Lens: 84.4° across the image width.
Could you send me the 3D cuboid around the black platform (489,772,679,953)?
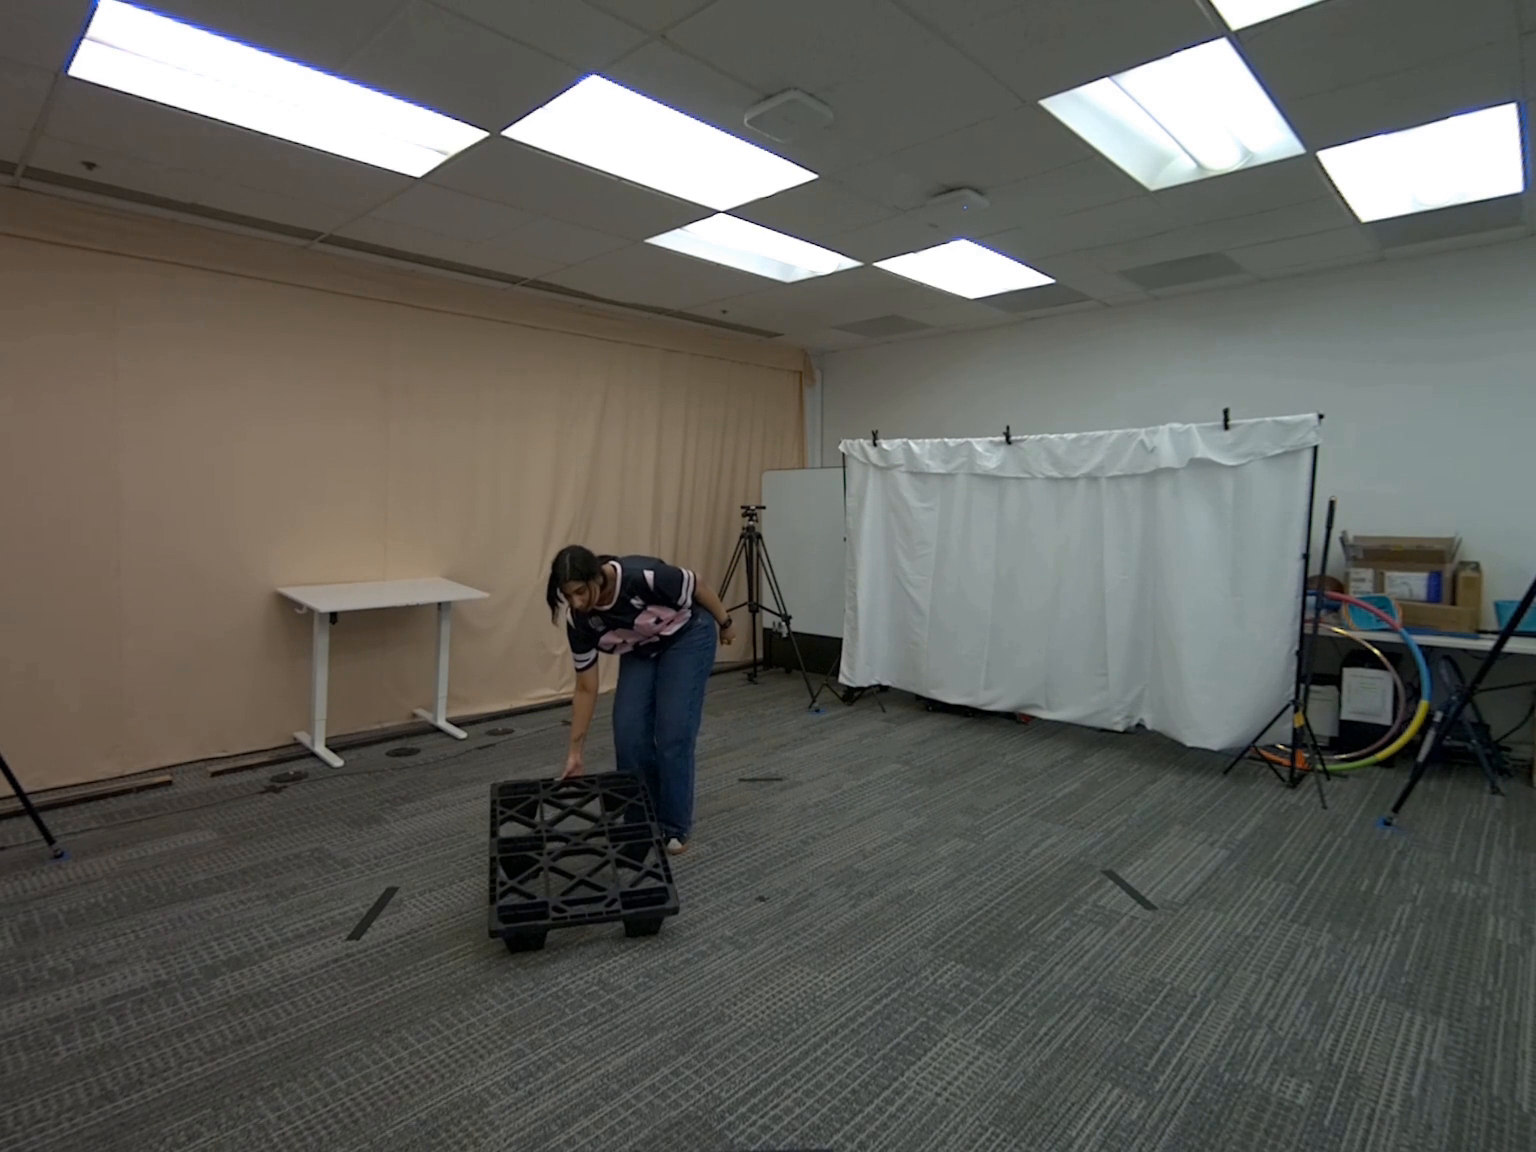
[{"bbox_3d":[-0.681,0.986,3.004,0.595,0.142,0.826,-1,19,-16],"label":"black platform"}]
